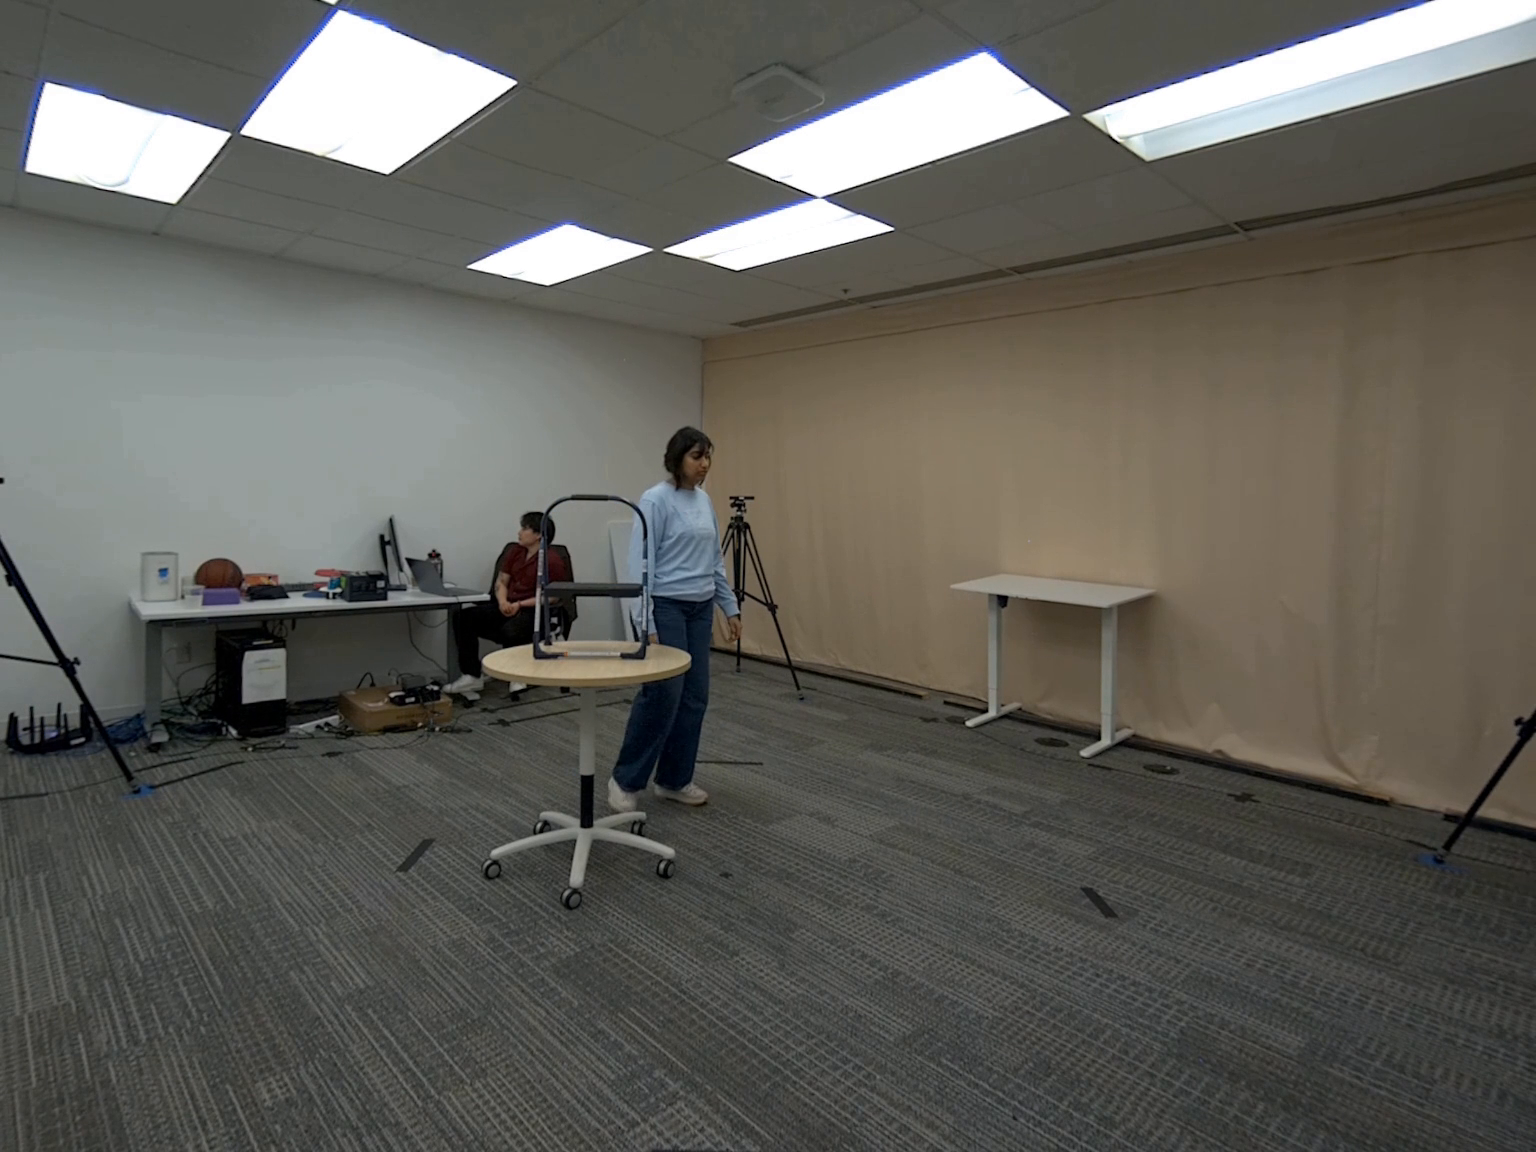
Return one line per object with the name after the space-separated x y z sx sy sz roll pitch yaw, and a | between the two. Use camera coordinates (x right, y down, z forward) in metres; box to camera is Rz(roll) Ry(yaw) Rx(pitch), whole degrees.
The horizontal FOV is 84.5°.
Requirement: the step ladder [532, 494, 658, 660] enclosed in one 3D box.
-0.682 -0.011 3.255 0.429 0.605 0.351 1 2 -5 | step ladder
